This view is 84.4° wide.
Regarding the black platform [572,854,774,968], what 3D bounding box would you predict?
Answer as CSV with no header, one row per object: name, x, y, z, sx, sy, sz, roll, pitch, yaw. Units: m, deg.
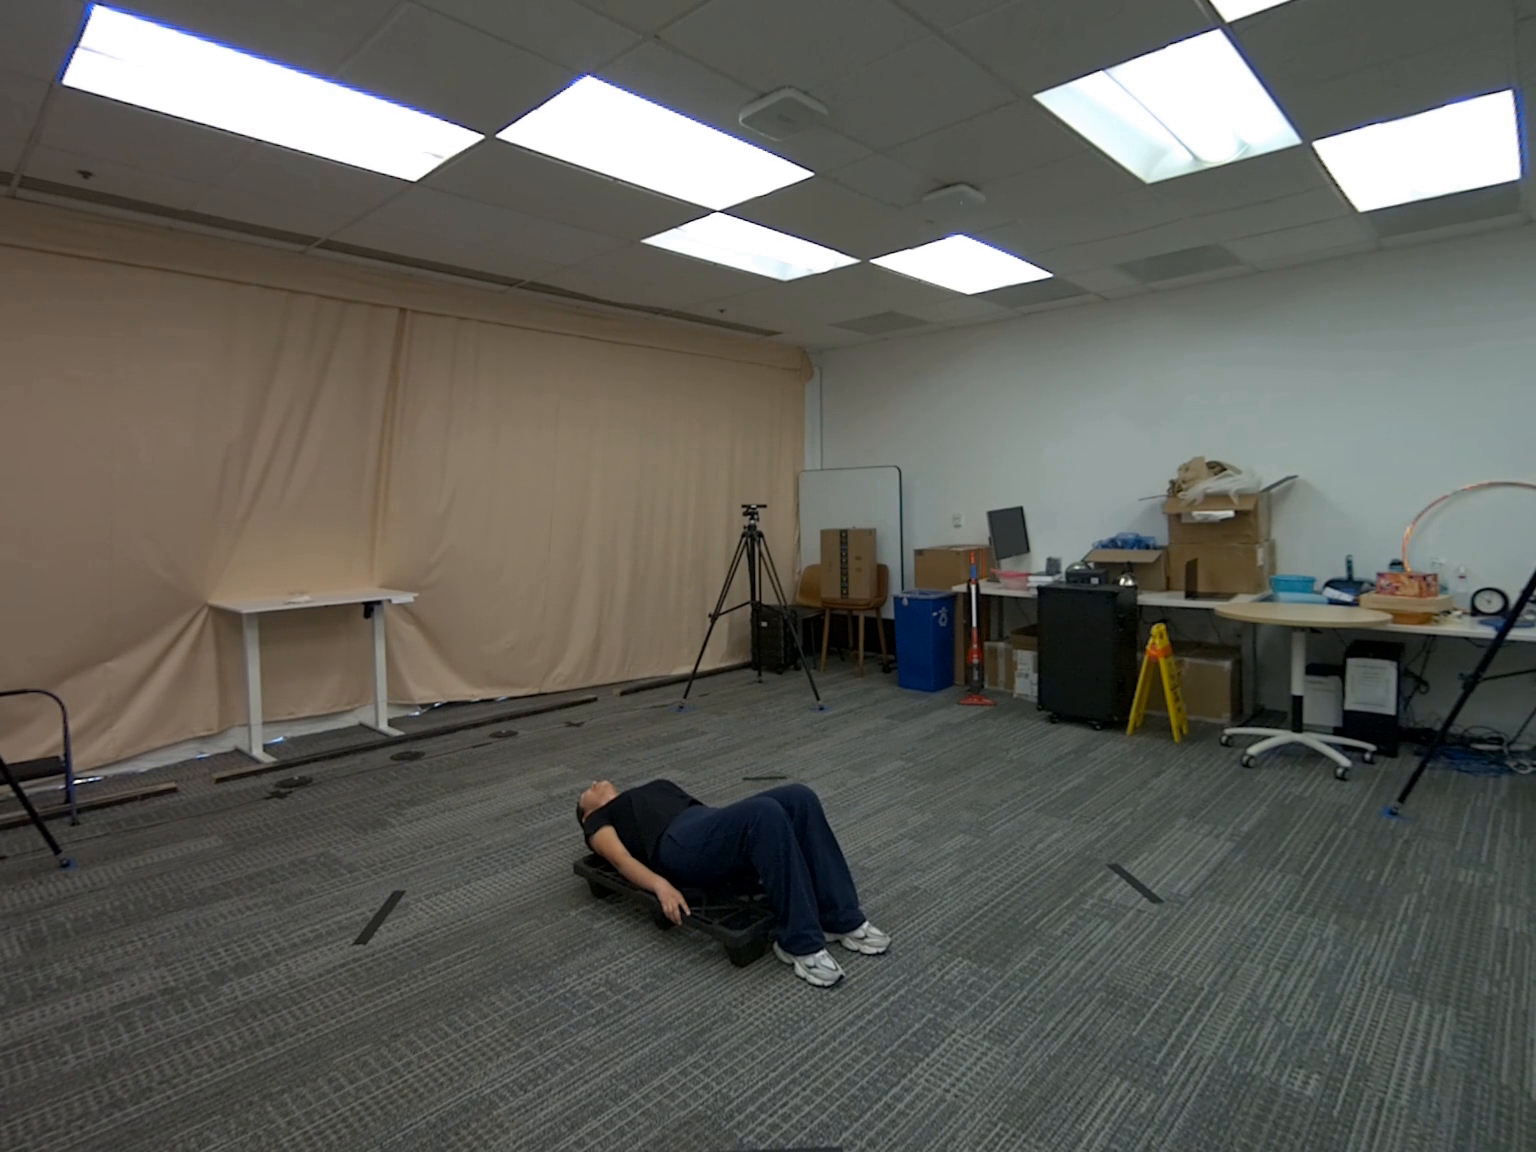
black platform,-0.199,1.082,2.942,0.832,0.143,0.587,3,7,41
